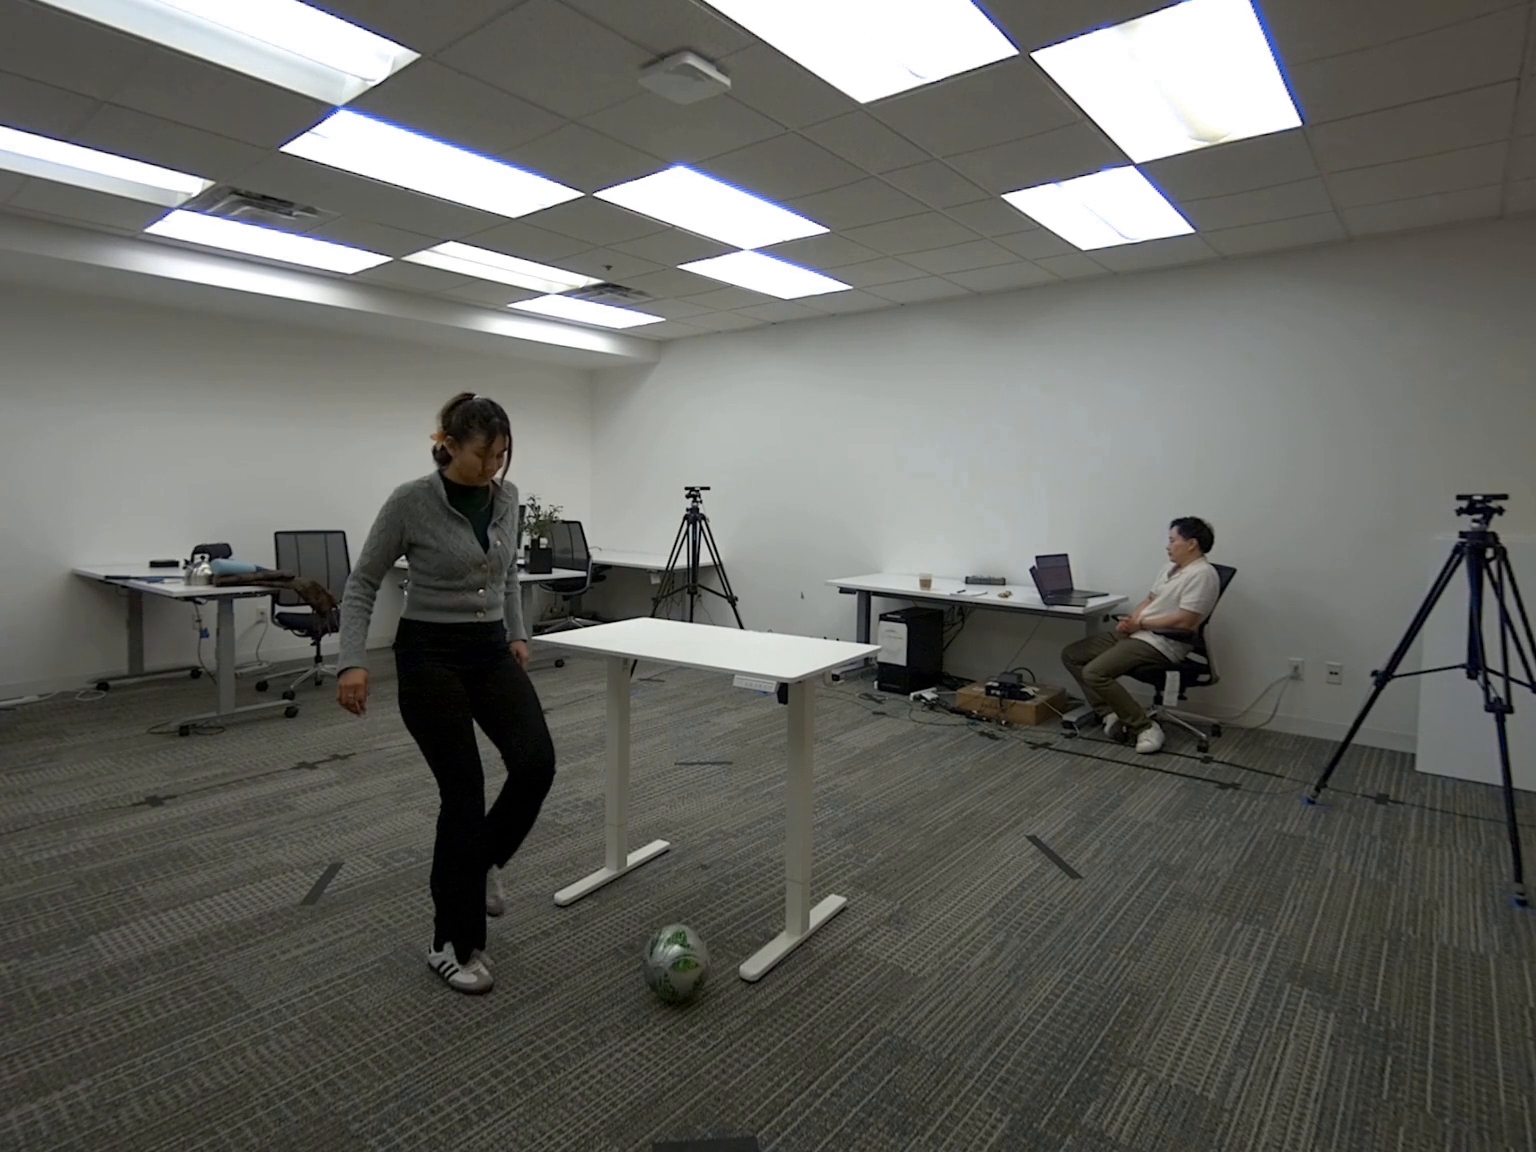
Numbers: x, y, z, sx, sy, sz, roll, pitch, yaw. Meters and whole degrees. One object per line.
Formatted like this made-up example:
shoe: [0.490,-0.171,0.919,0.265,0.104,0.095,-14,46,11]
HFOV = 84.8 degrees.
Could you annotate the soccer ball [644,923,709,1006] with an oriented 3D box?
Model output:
soccer ball: [-0.254,1.055,2.315,0.187,0.187,0.188,0,4,-2]
